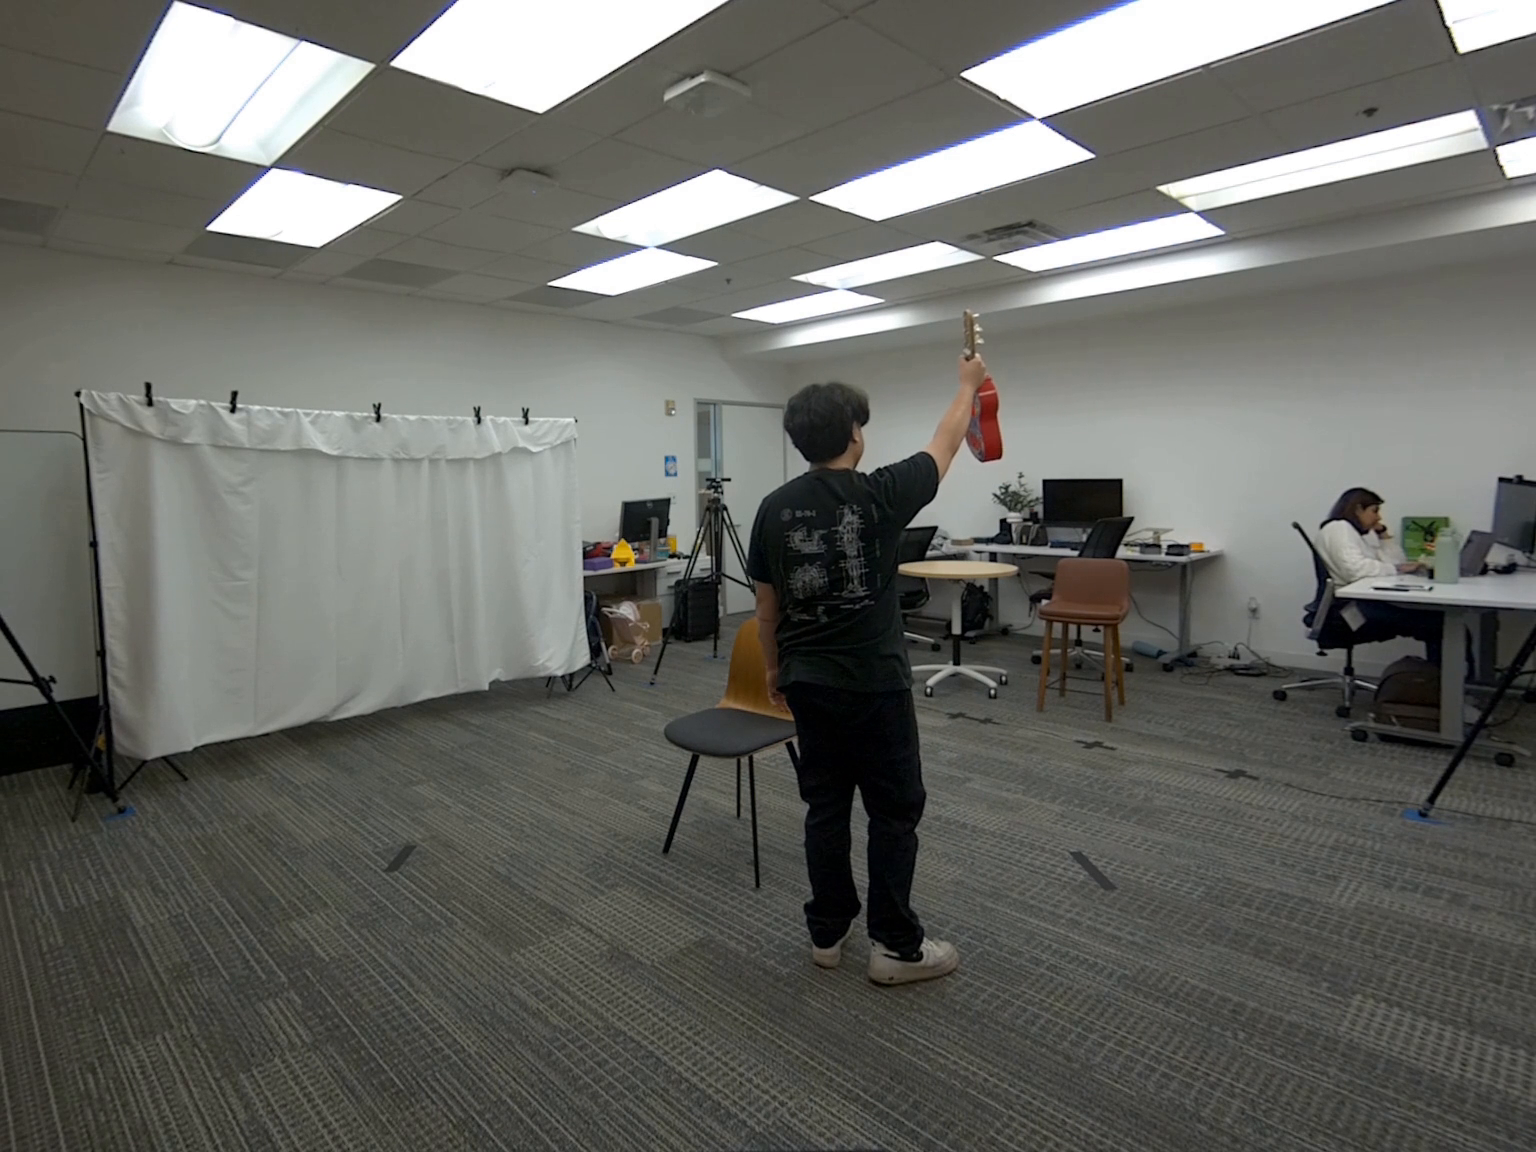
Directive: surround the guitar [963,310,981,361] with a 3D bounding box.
[{"bbox_3d":[0.680,-0.577,2.664,0.071,0.482,0.199,-12,42,0],"label":"guitar"}]
